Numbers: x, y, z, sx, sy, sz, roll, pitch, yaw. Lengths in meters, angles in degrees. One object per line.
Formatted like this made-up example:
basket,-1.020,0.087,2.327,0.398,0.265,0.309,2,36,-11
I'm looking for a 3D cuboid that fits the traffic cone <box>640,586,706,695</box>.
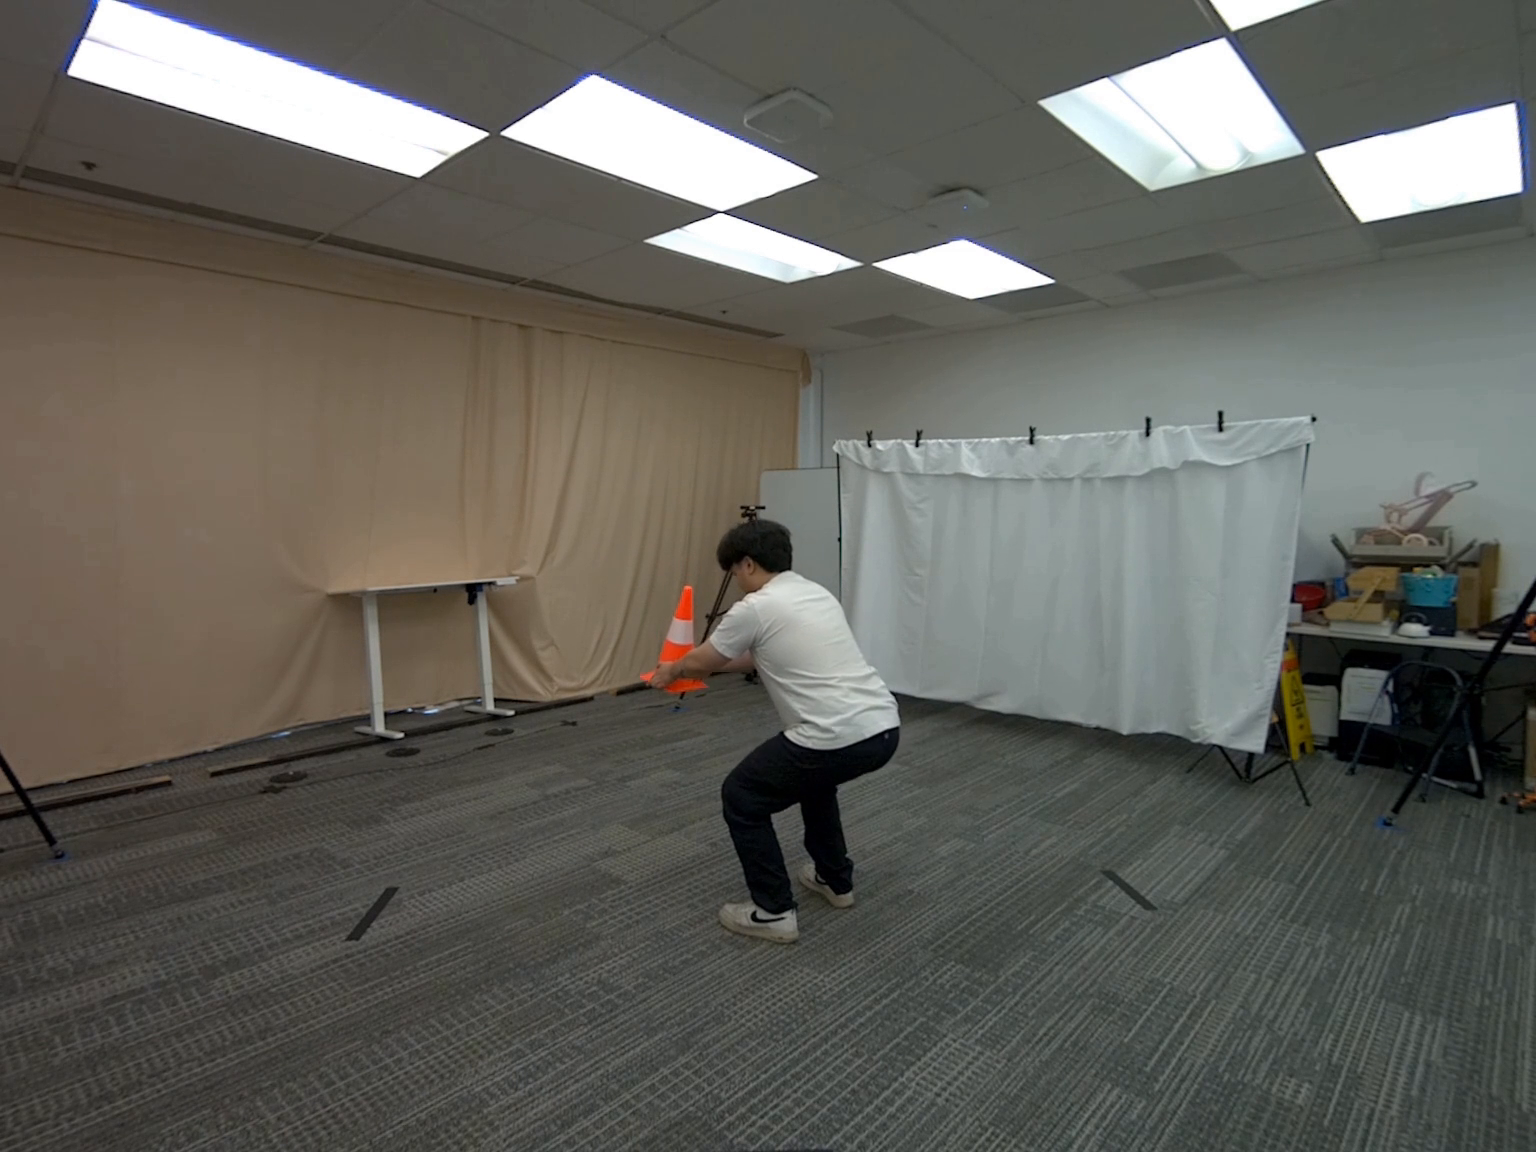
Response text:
traffic cone,-0.337,0.225,3.219,0.210,0.382,0.199,15,12,32
